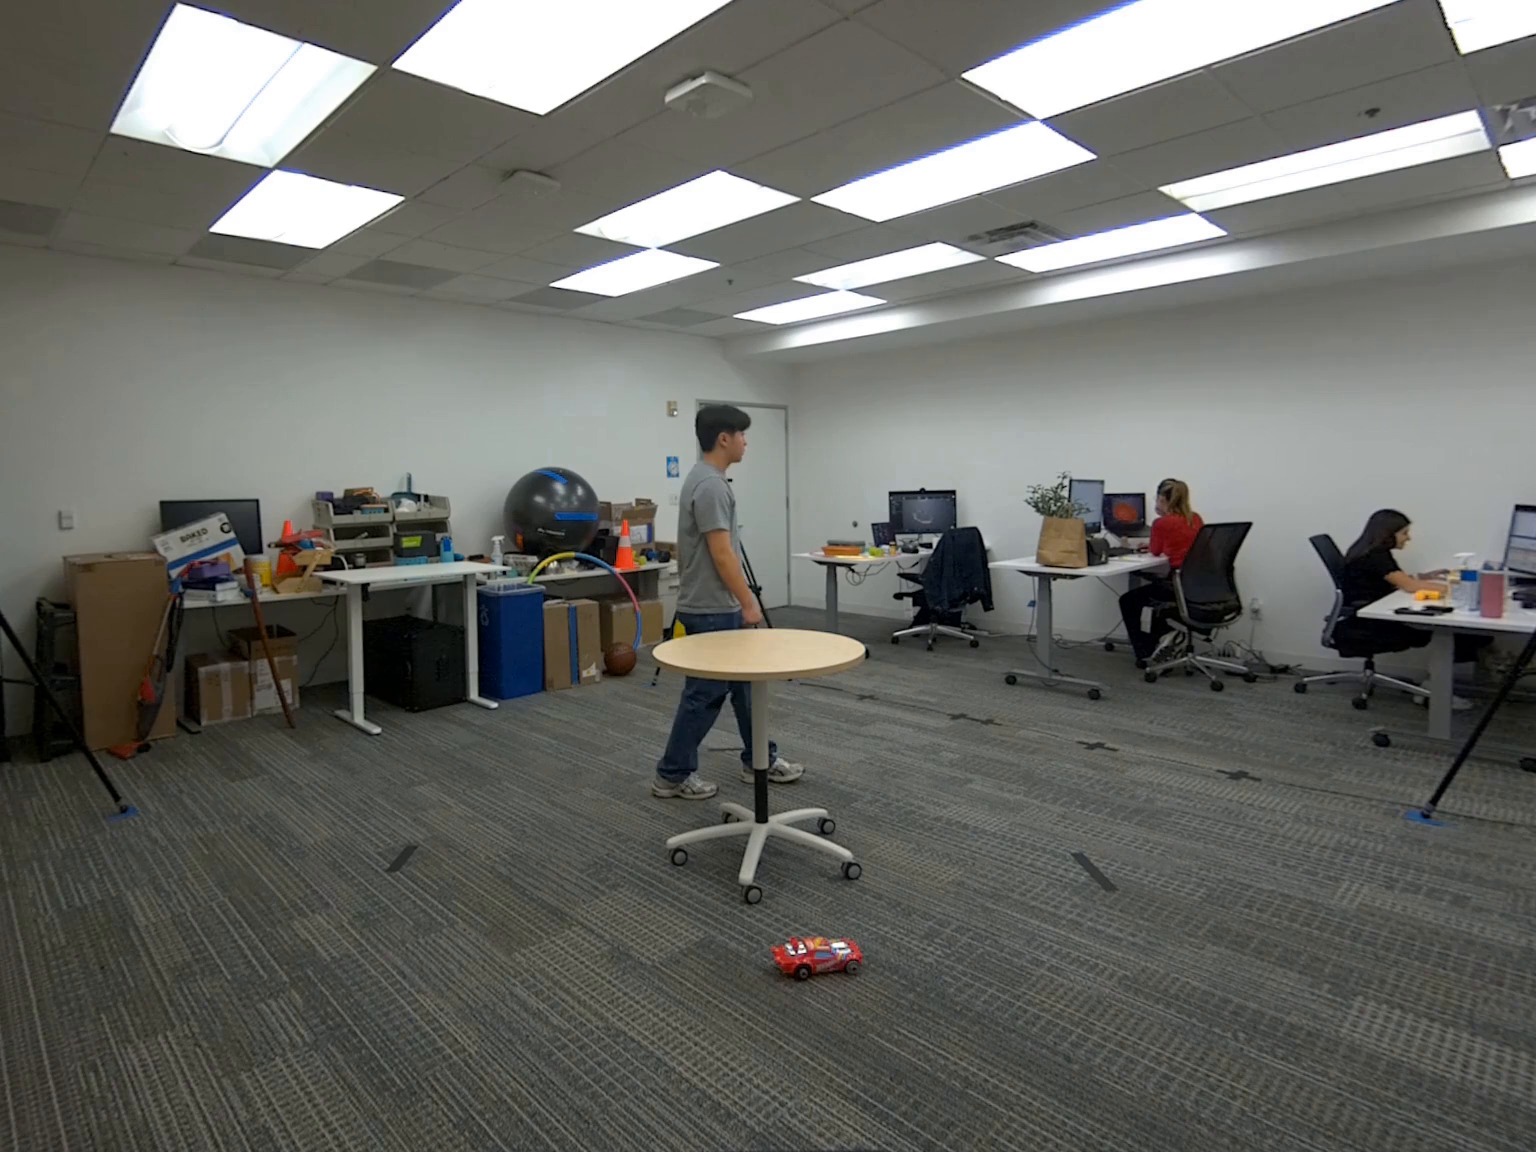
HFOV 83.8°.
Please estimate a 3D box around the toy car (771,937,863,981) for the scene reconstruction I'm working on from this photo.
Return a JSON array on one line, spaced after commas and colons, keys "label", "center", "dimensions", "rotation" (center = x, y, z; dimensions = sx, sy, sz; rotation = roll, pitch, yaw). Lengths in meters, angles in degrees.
[{"label": "toy car", "center": [0.139, 1.090, 2.434], "dimensions": [0.251, 0.083, 0.132], "rotation": [9, 3, -11]}]
